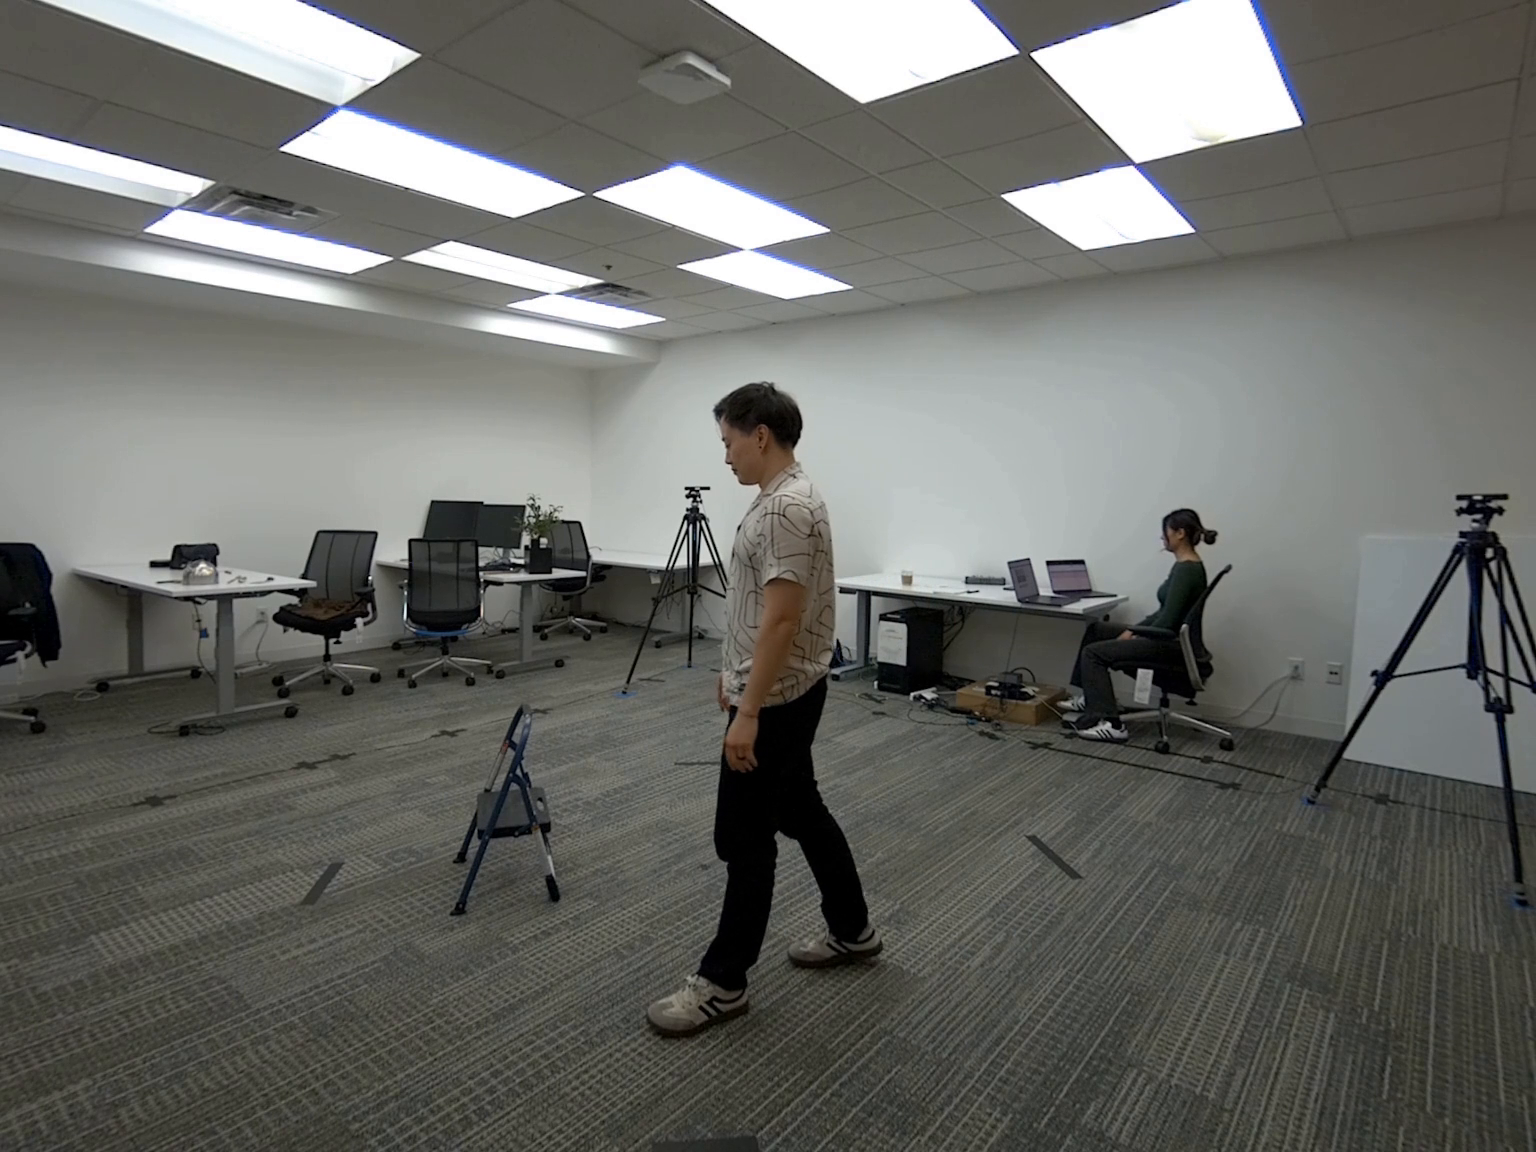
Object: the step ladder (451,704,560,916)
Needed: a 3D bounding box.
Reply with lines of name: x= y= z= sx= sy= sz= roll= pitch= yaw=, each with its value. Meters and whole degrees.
step ladder: x=-0.933 y=0.769 z=2.969 sx=0.343 sy=0.604 sz=0.440 roll=0 pitch=4 yaw=-19
